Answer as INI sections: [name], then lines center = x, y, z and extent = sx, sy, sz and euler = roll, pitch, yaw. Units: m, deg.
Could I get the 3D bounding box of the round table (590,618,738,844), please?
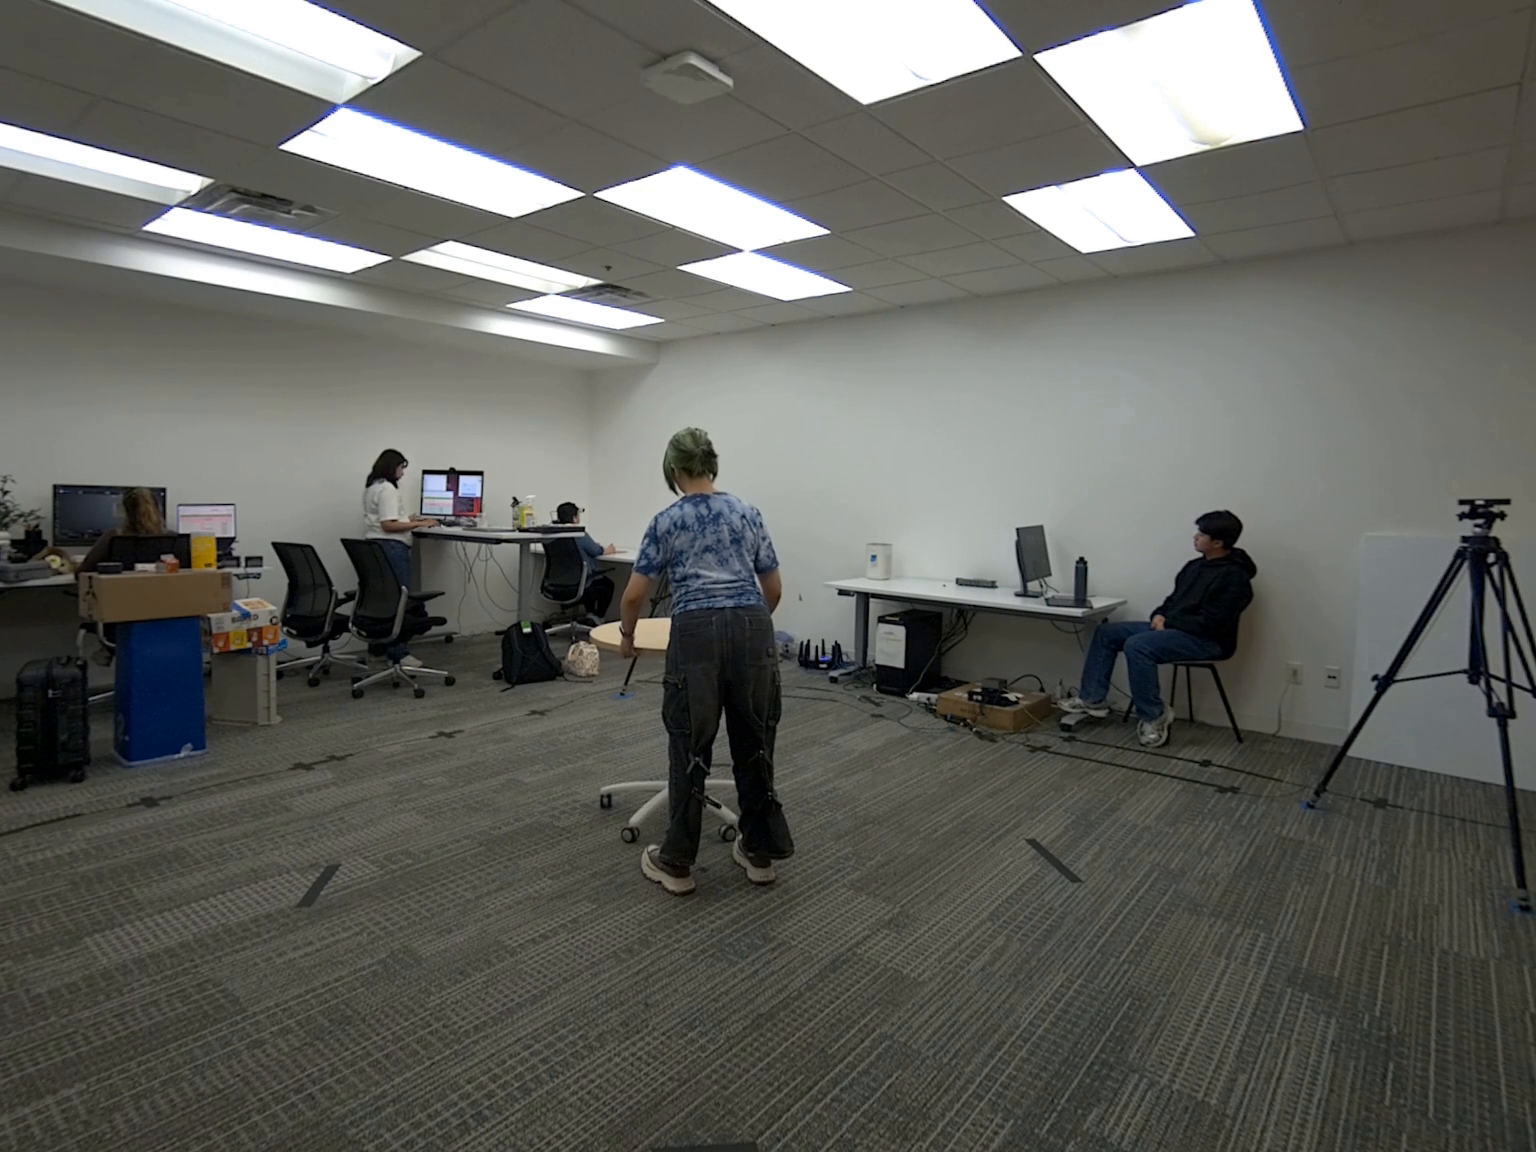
[round table]
center = -0.388, 0.628, 3.606
extent = 0.763, 0.791, 0.768
euler = 0, 4, -2
